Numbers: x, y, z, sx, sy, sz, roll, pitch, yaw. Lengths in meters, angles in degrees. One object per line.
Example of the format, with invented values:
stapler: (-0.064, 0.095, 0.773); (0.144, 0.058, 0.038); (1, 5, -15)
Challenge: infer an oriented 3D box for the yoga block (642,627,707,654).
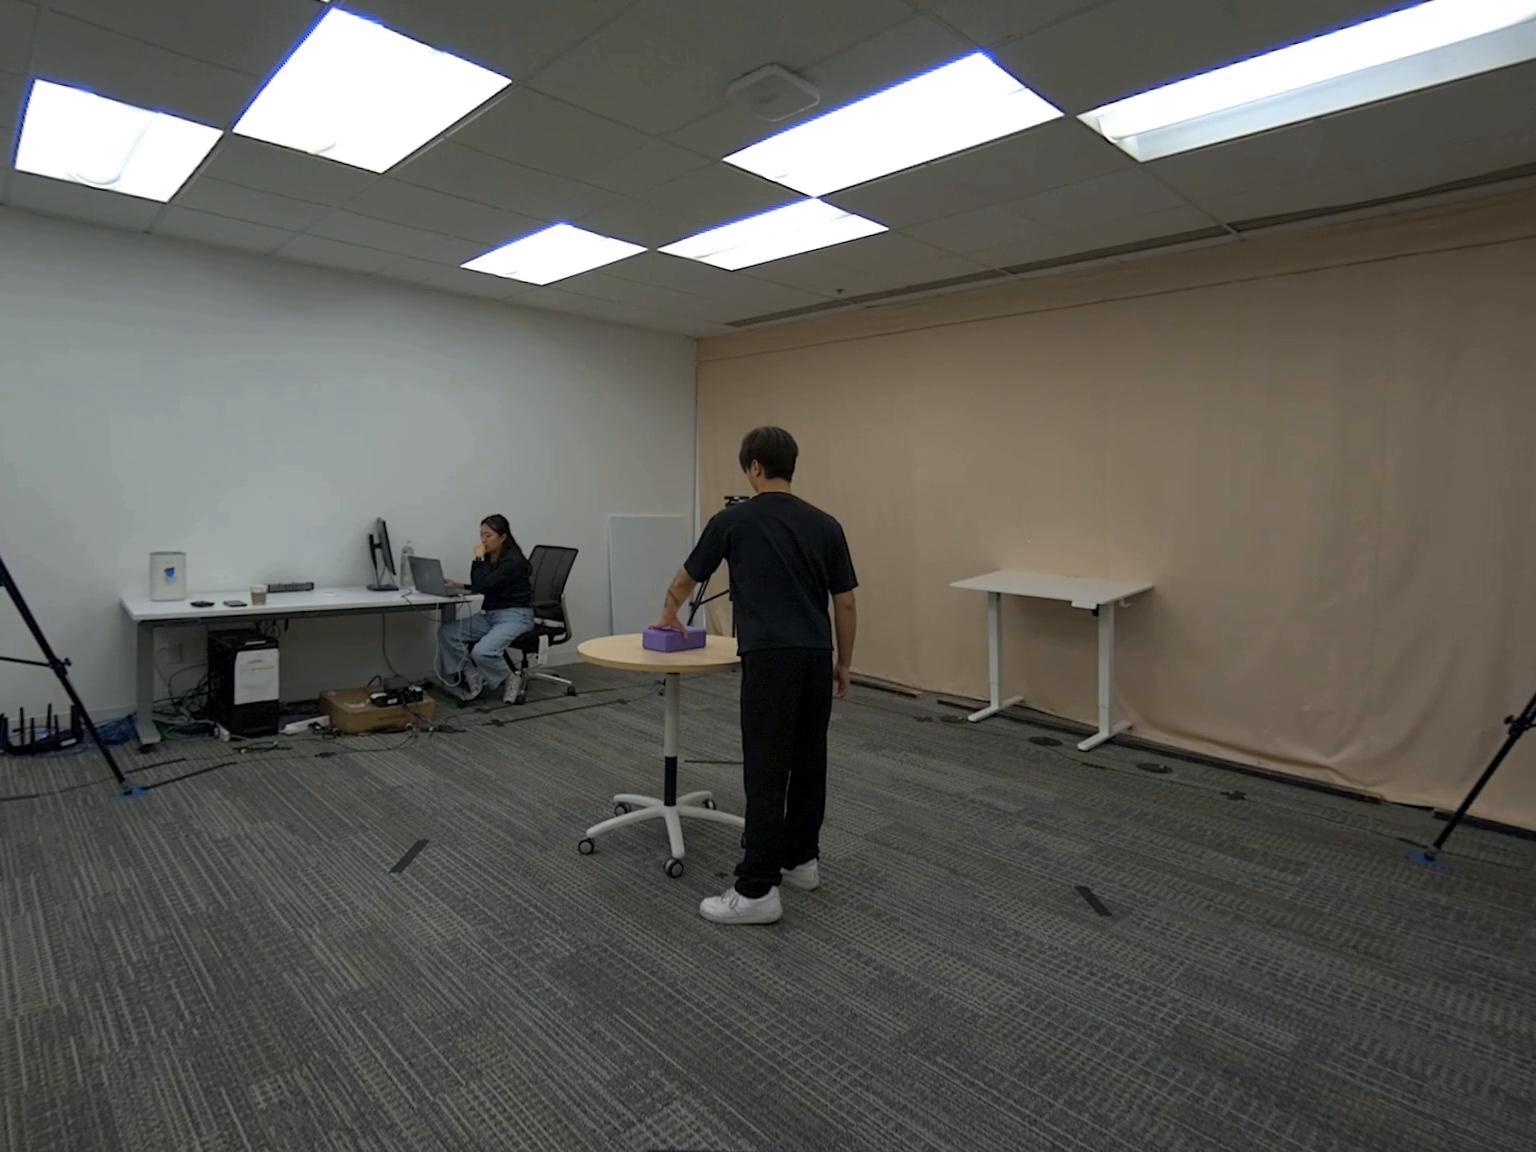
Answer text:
yoga block: (-0.383, 0.253, 3.382); (0.152, 0.076, 0.224); (4, 6, 39)
